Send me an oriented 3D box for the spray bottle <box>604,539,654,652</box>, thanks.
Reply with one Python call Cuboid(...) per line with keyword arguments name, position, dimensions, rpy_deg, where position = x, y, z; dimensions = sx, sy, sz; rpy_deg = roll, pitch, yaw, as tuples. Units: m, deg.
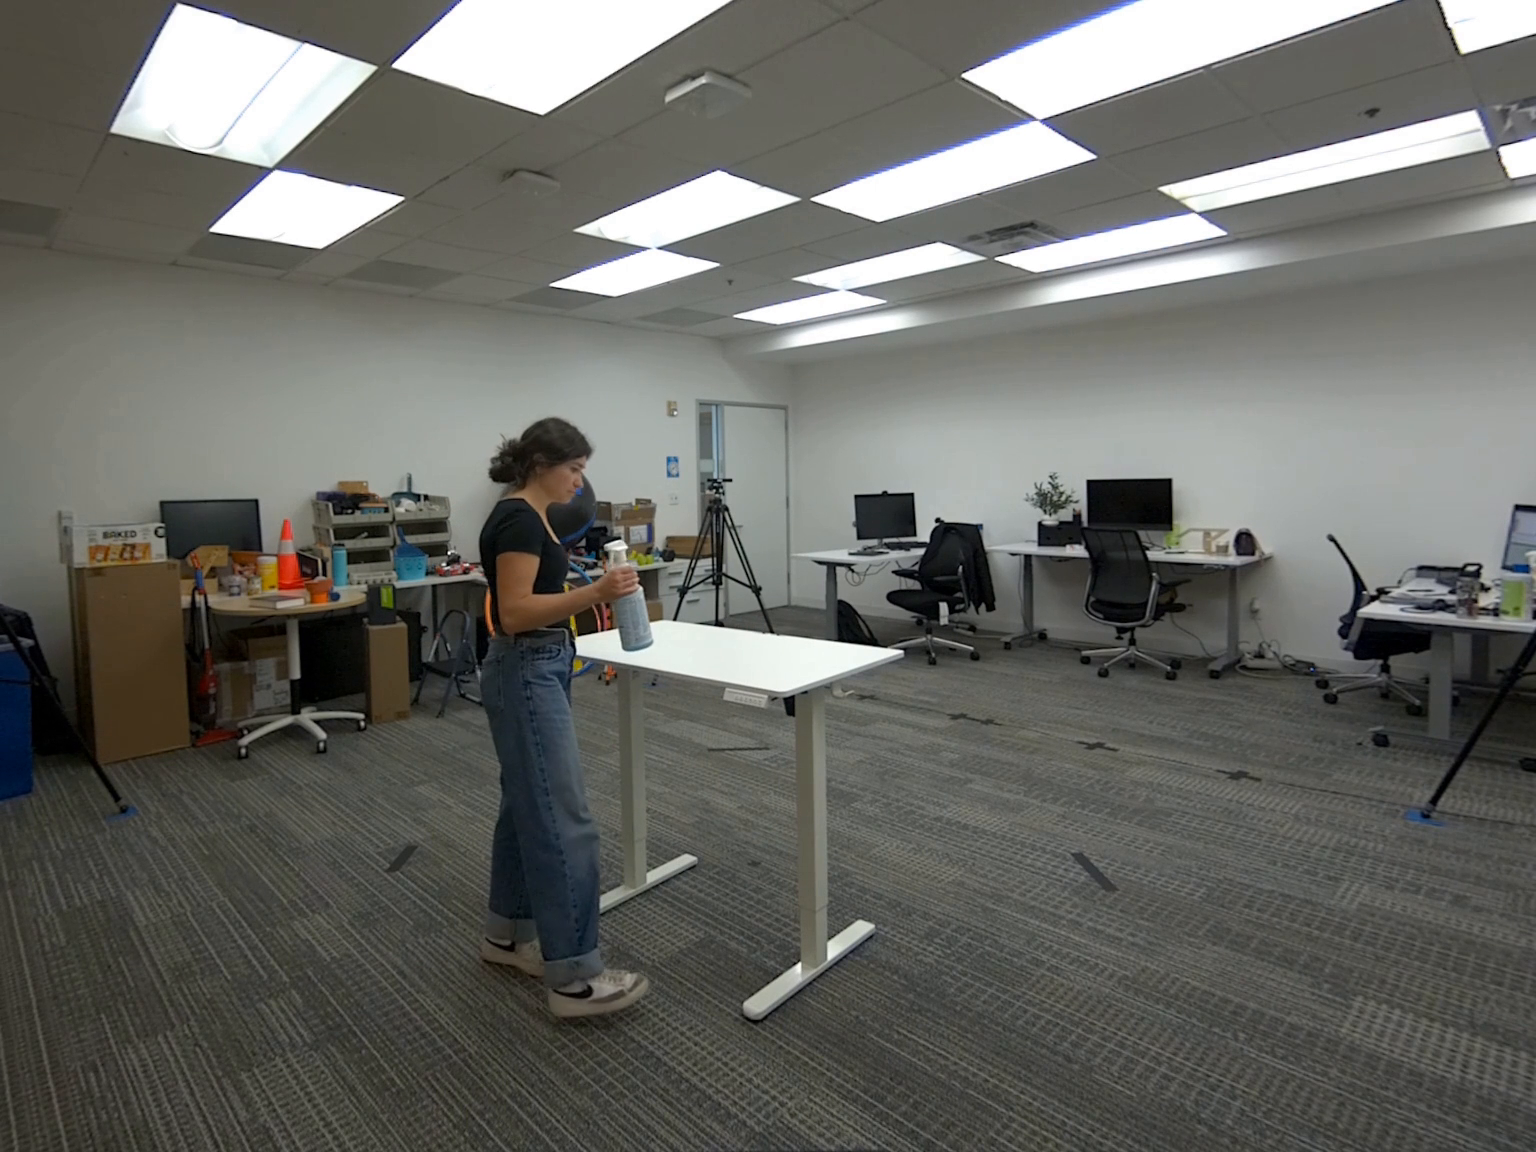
Cuboid(name="spray bottle", position=(-0.372, 0.048, 2.272), dimensions=(0.088, 0.294, 0.089), rpy_deg=(-18, 13, -37))
